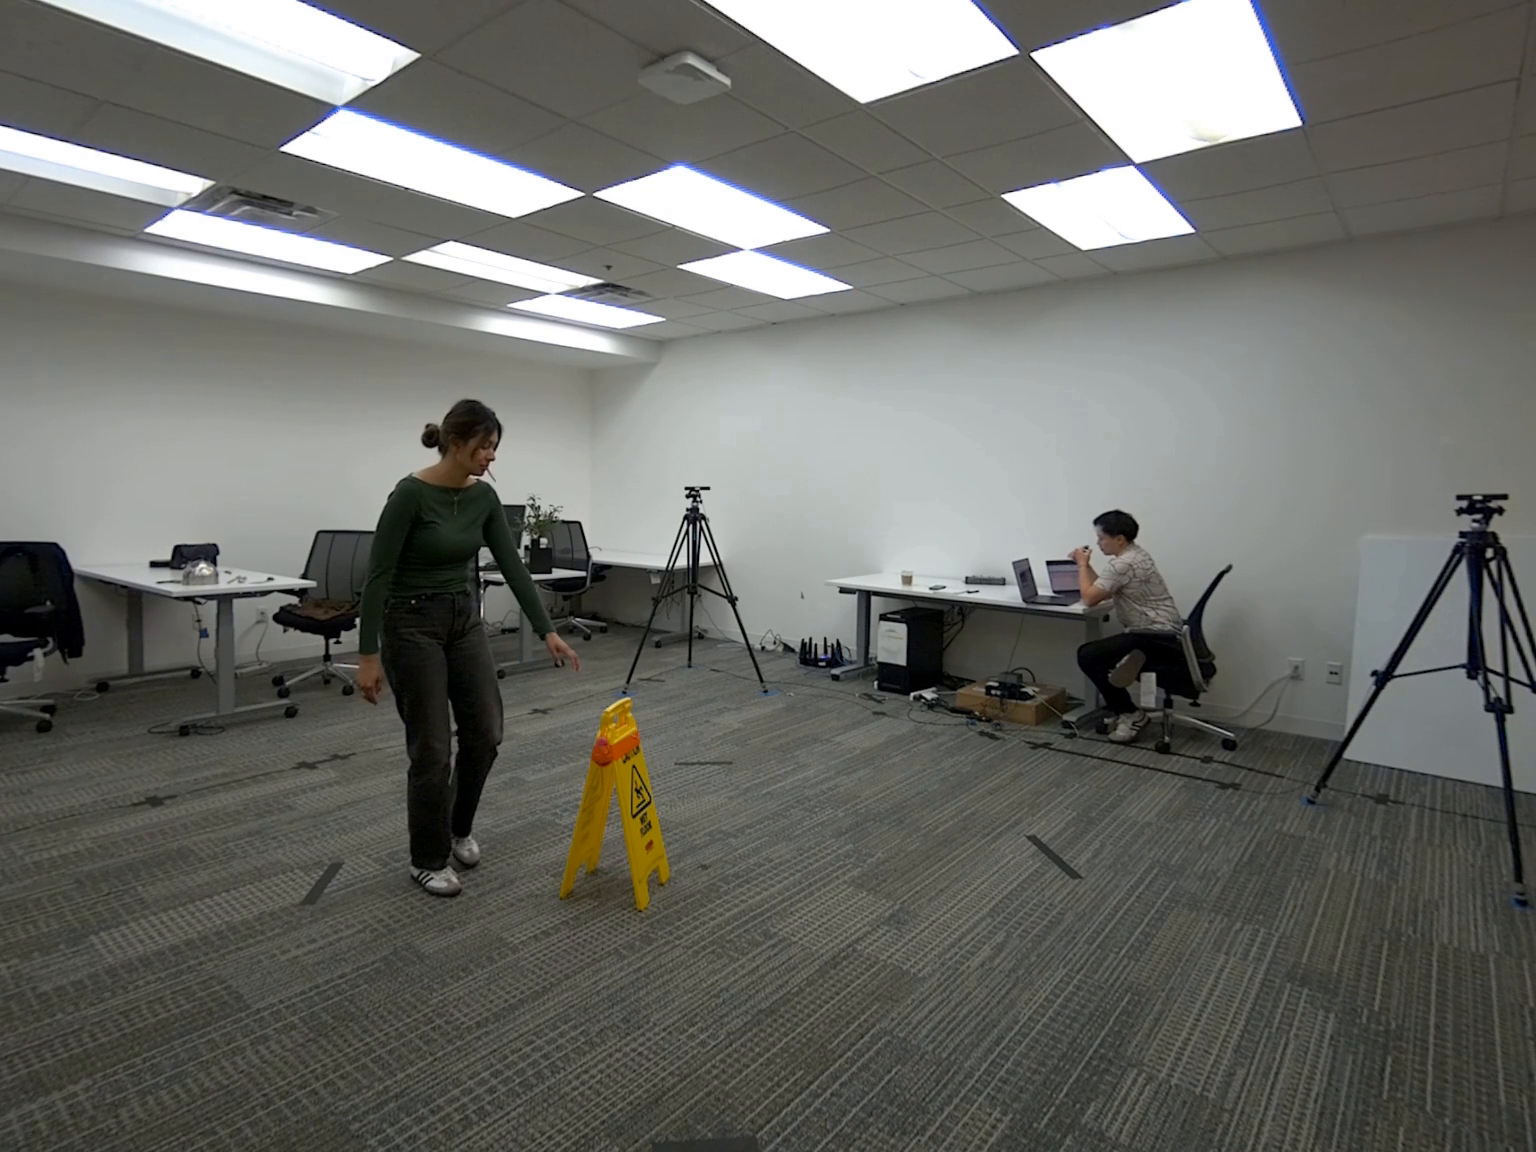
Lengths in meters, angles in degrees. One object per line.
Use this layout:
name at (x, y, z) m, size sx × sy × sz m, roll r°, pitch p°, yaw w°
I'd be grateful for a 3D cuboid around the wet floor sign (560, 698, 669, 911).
wet floor sign at (-0.529, 0.757, 2.926) m, size 0.295 × 0.644 × 0.278 m, roll 2°, pitch 4°, yaw 15°
